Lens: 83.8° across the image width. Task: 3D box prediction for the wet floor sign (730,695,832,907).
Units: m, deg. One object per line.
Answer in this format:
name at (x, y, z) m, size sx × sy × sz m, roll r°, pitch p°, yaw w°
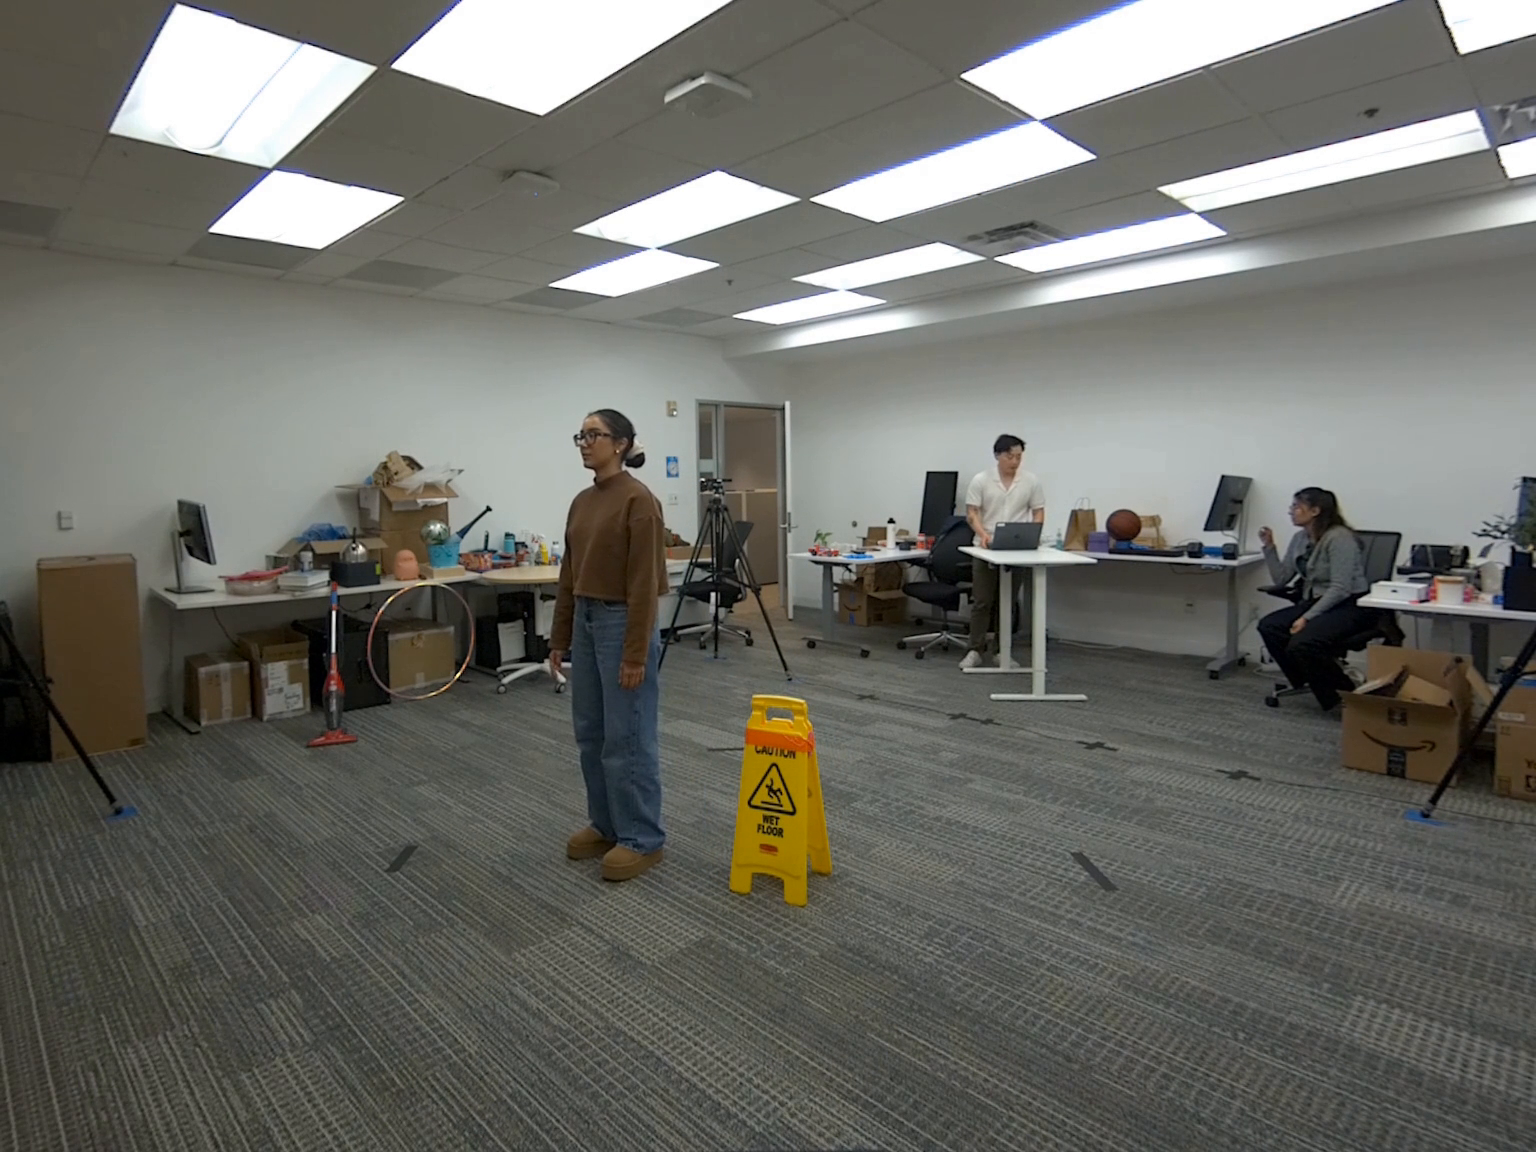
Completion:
wet floor sign at (0.045, 0.737, 2.937) m, size 0.289 × 0.644 × 0.284 m, roll 1°, pitch 5°, yaw 25°
